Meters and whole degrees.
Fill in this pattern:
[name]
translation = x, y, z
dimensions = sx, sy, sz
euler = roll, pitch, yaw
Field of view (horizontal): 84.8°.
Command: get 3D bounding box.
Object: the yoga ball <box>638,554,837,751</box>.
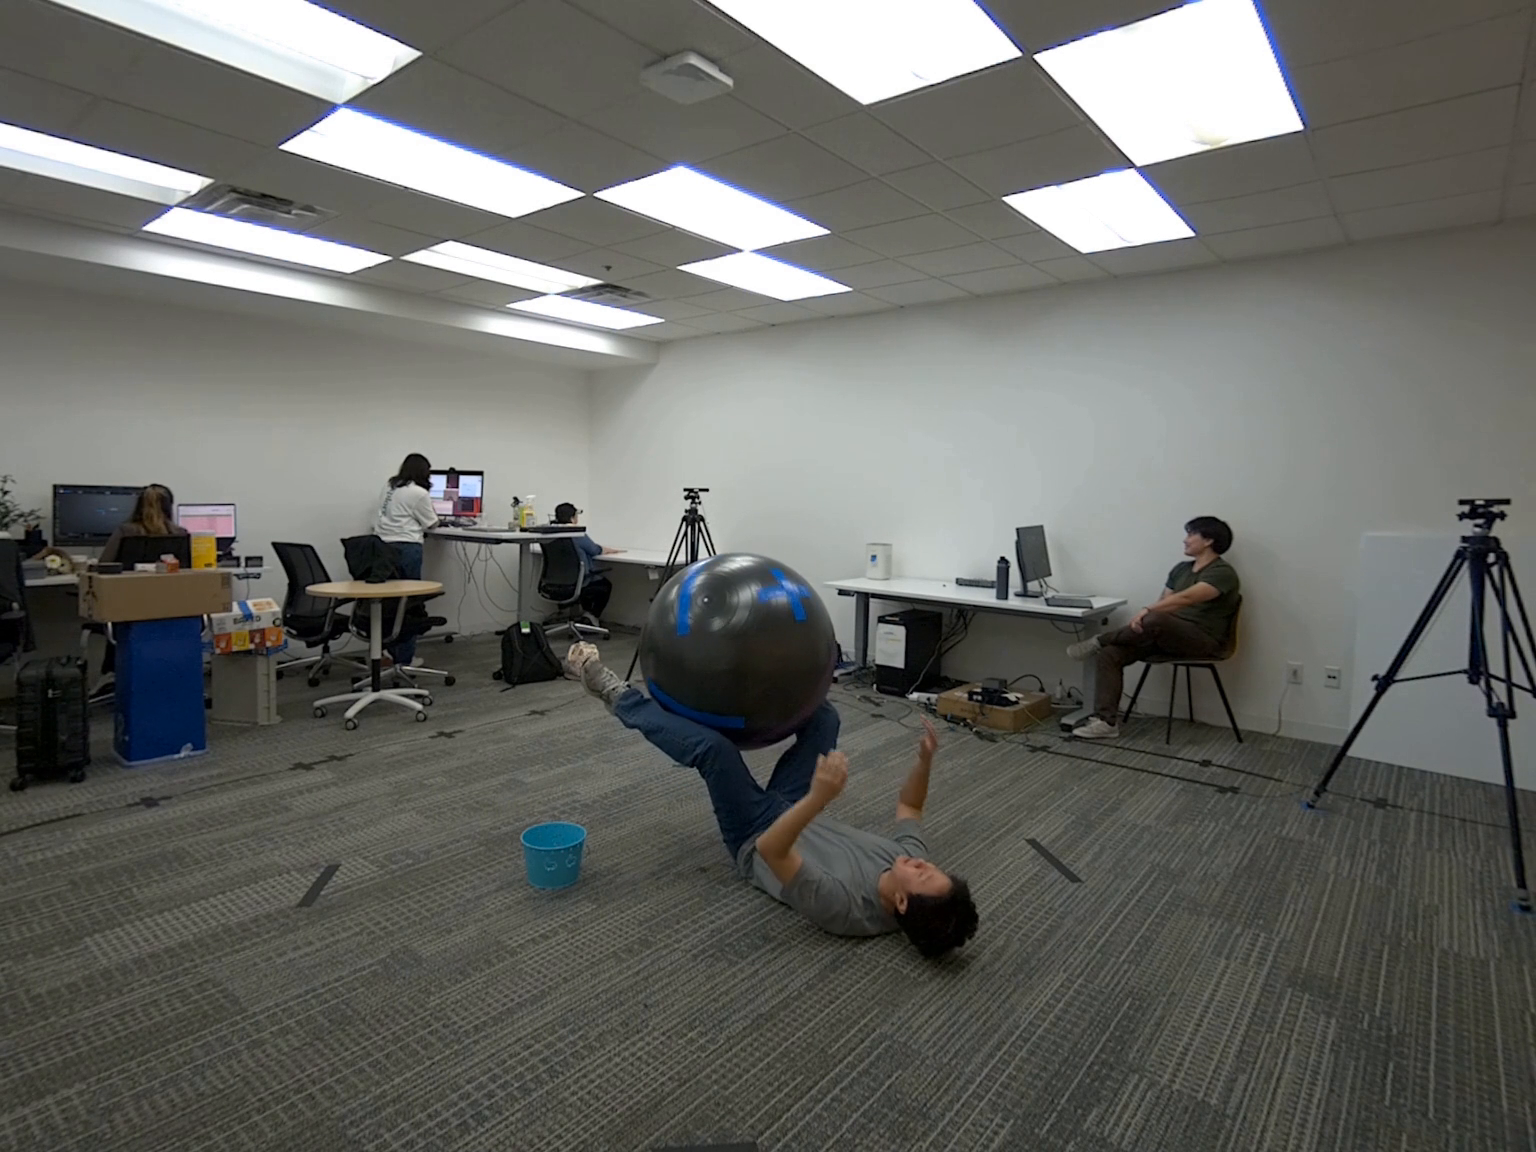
[yoga ball]
translation = -0.128, 0.287, 3.293
dimensions = 0.757, 0.756, 0.761
euler = 1, 4, -2
